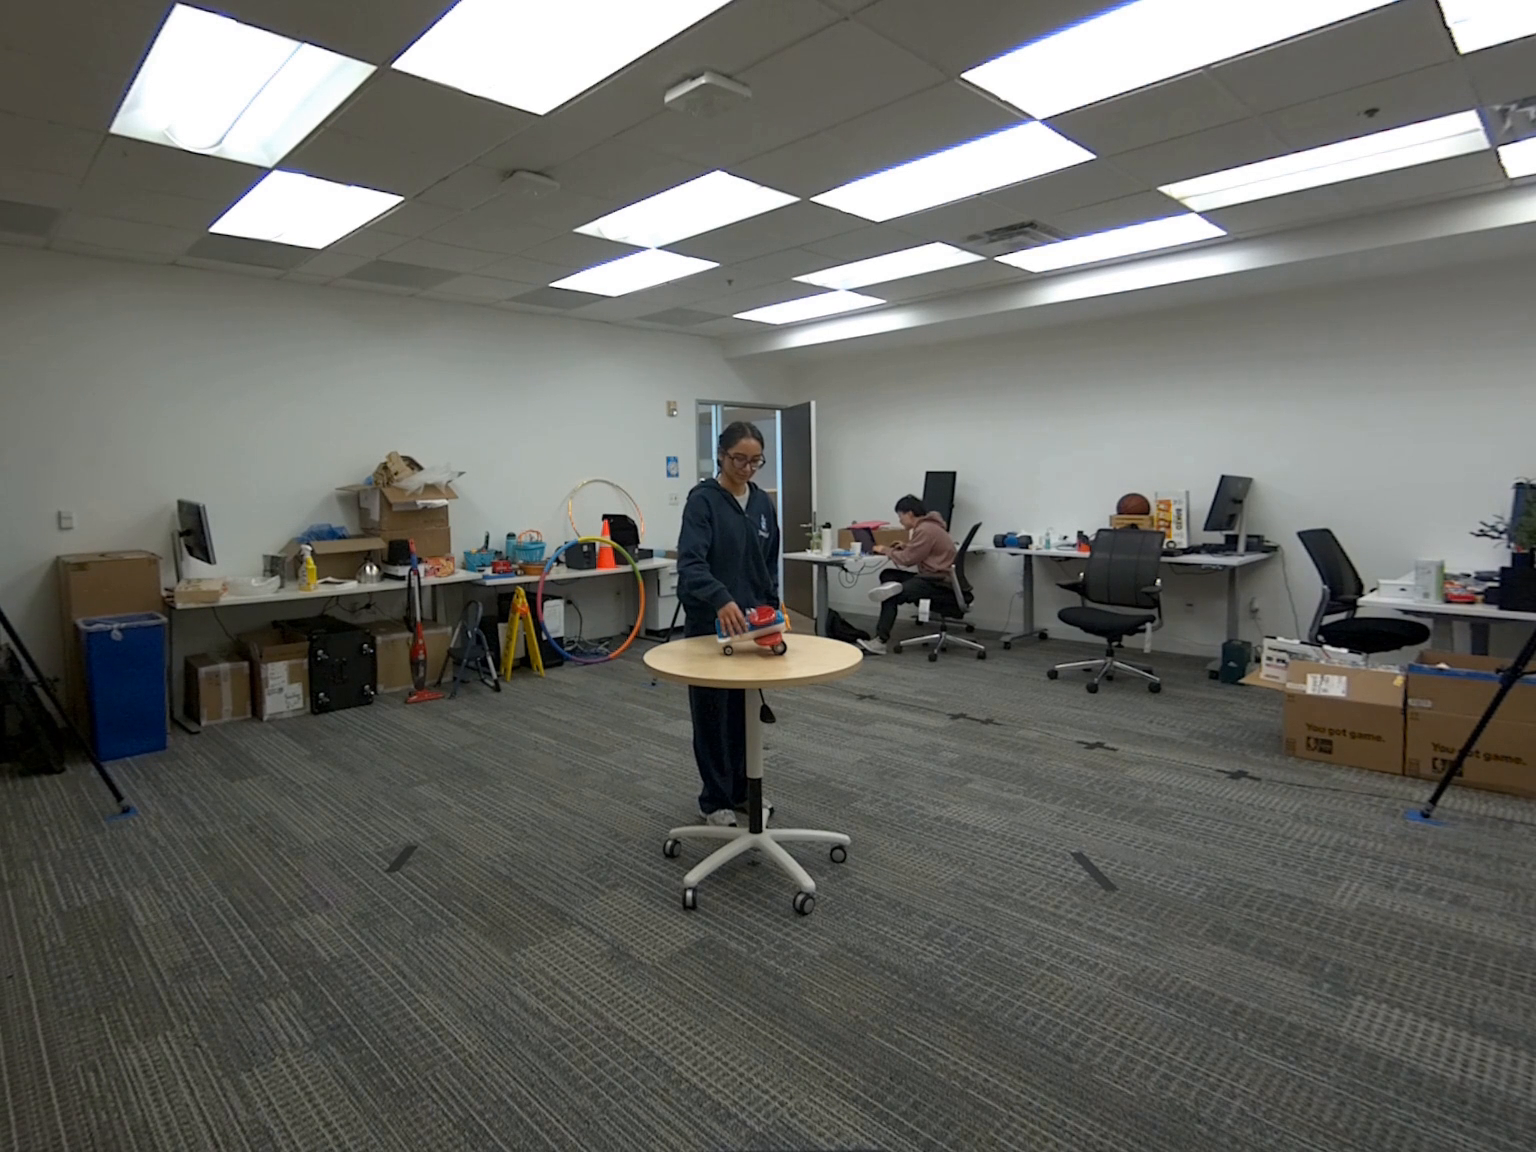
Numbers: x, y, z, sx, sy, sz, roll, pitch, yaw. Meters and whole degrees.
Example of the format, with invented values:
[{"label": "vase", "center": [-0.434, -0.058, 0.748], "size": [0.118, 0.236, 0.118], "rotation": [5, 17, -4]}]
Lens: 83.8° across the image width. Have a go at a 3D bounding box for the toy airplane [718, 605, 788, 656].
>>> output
[{"label": "toy airplane", "center": [-0.050, 0.204, 2.989], "size": [0.253, 0.155, 0.258], "rotation": [-5, 7, -31]}]
